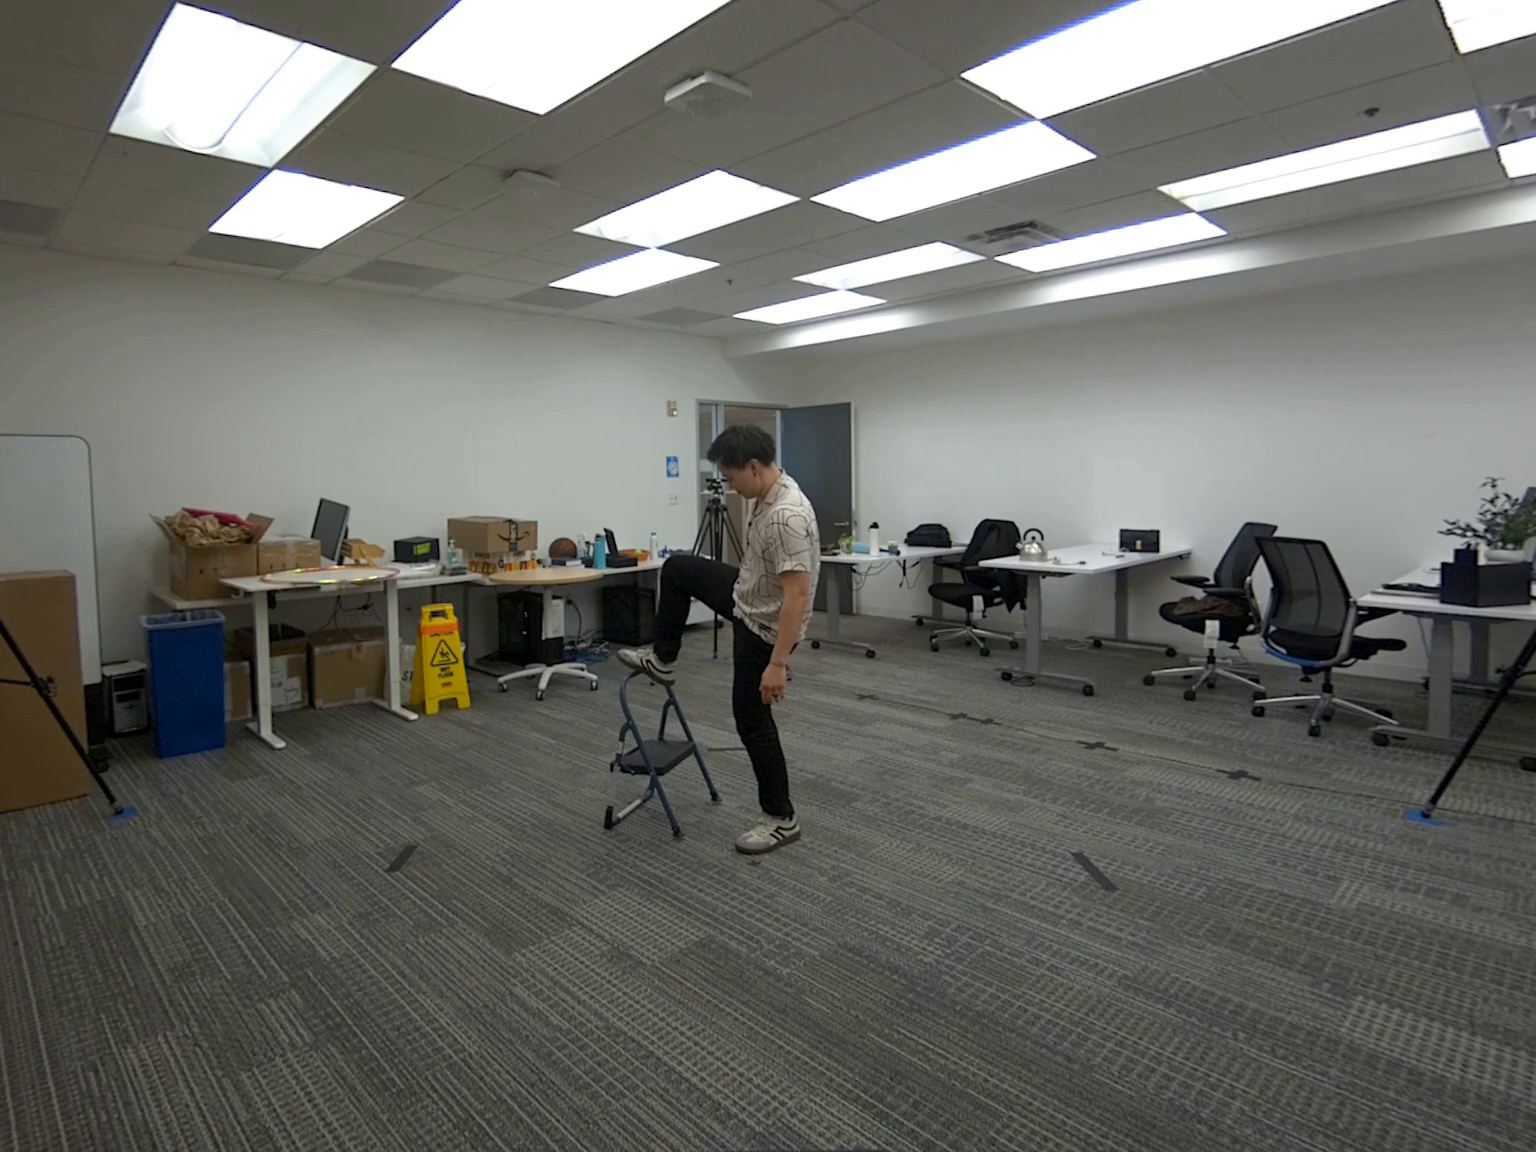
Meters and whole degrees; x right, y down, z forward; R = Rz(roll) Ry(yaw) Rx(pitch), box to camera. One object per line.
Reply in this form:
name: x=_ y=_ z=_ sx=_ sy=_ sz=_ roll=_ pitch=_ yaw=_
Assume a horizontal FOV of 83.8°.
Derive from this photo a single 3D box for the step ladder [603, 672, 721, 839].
step ladder: x=-0.465 y=0.688 z=3.555 sx=0.355 sy=0.605 sz=0.424 roll=-4 pitch=2 yaw=20
